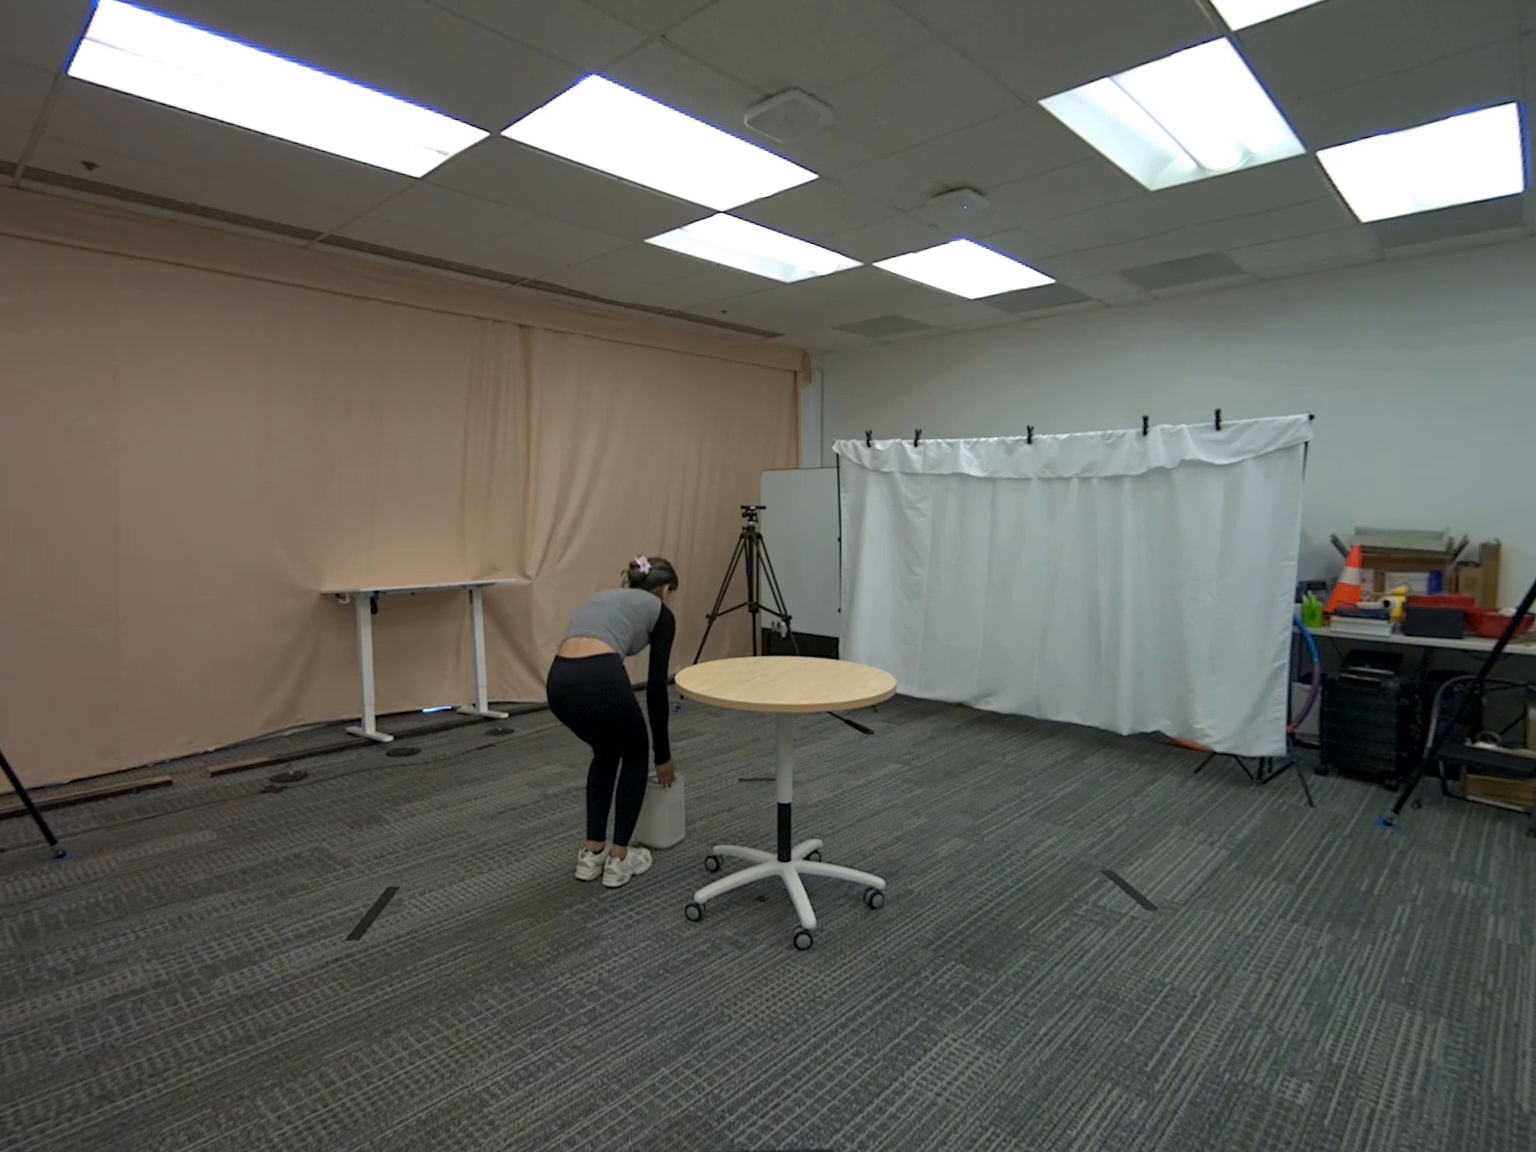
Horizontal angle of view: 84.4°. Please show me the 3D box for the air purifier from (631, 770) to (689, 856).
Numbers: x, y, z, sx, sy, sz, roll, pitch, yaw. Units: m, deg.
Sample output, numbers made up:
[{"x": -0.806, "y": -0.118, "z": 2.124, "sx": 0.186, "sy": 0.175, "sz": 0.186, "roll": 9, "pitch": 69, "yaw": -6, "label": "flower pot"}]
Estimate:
[{"x": -0.452, "y": 0.968, "z": 3.487, "sx": 0.176, "sy": 0.265, "sz": 0.167, "roll": 2, "pitch": 4, "yaw": 34, "label": "air purifier"}]
